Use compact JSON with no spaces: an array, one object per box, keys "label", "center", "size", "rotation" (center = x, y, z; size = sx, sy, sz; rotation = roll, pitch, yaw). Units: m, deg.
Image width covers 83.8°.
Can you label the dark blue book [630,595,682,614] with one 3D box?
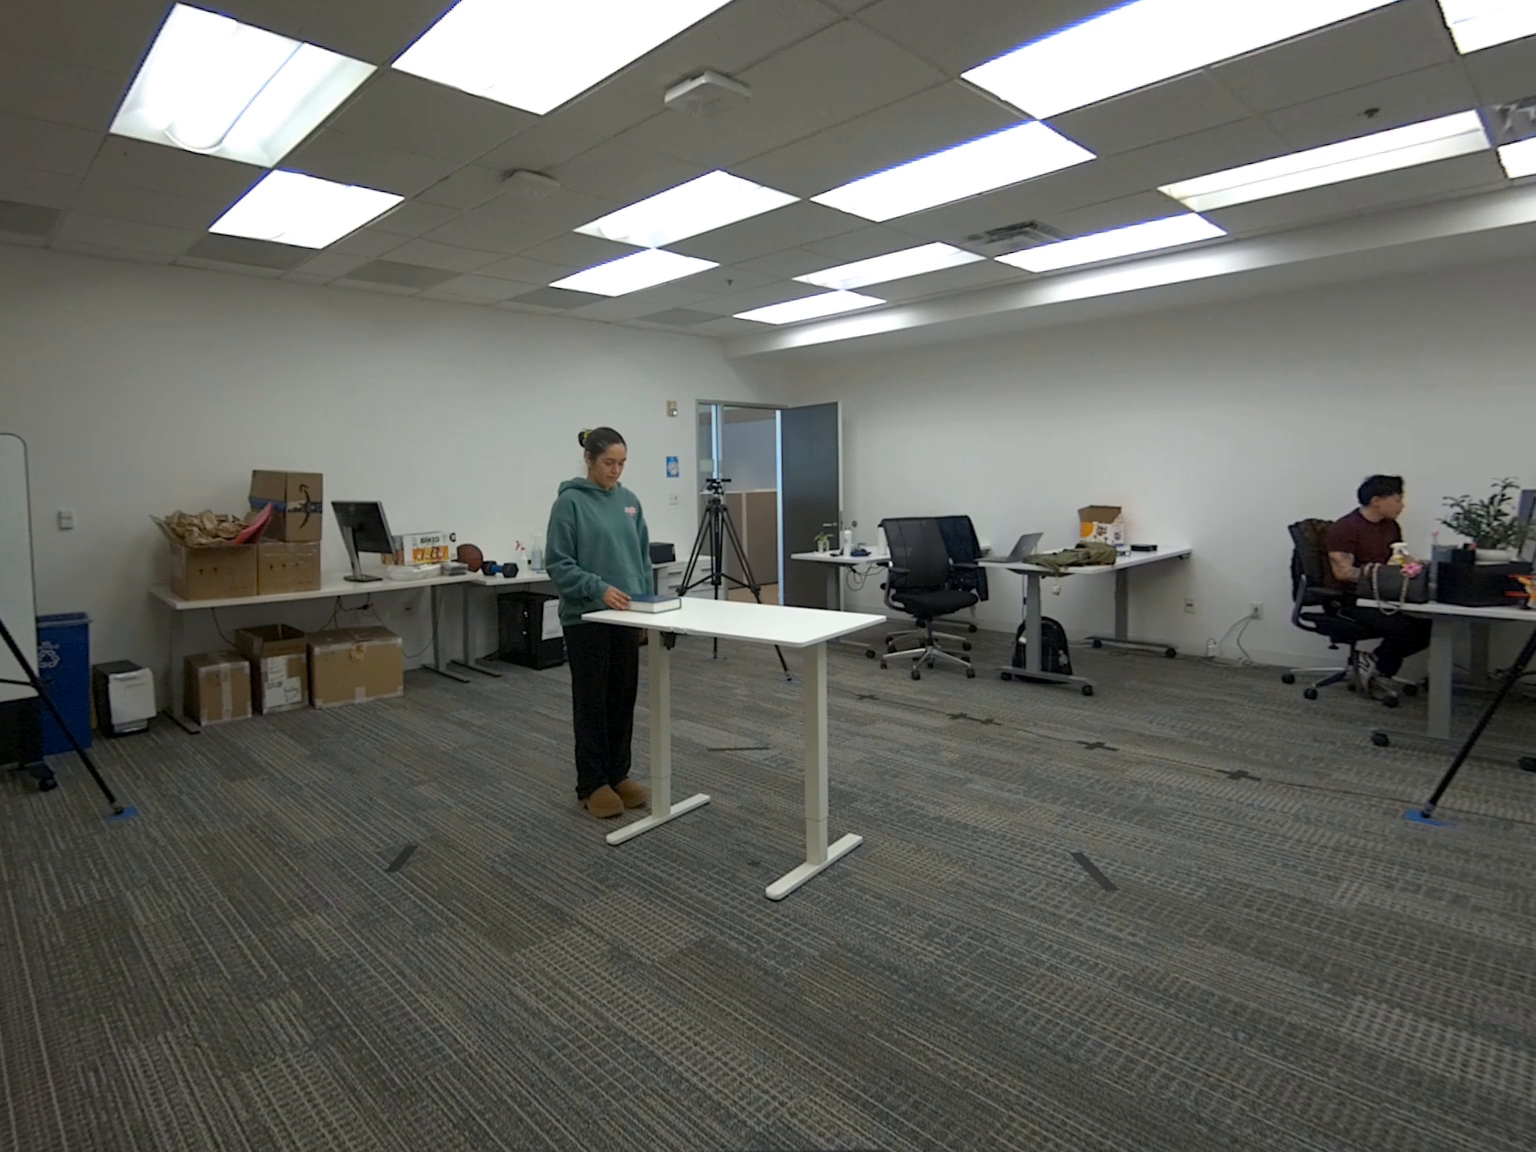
[{"label":"dark blue book","center":[-0.489,0.113,3.446],"size":[0.252,0.045,0.159],"rotation":[3,7,37]}]
